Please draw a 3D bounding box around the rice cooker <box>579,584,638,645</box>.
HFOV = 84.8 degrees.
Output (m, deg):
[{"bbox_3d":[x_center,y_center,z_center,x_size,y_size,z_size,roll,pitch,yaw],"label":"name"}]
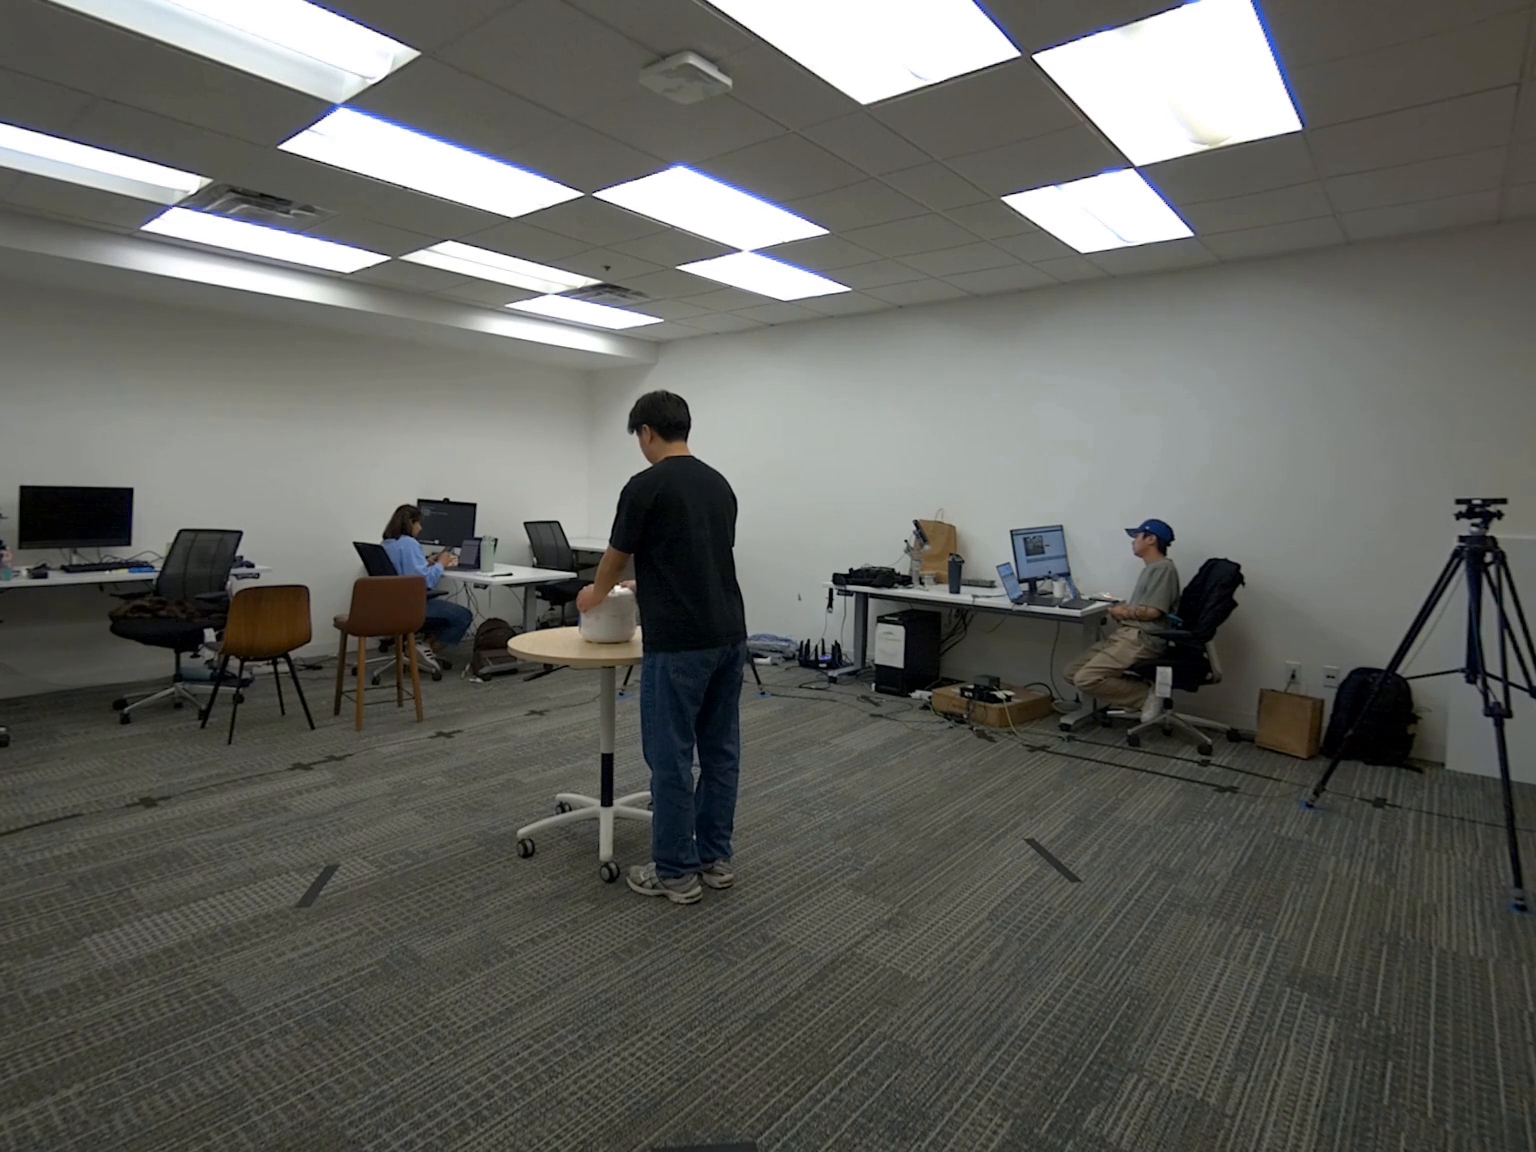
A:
[{"bbox_3d":[-0.629,0.130,3.310,0.213,0.231,0.226,-1,7,-20],"label":"rice cooker"}]
